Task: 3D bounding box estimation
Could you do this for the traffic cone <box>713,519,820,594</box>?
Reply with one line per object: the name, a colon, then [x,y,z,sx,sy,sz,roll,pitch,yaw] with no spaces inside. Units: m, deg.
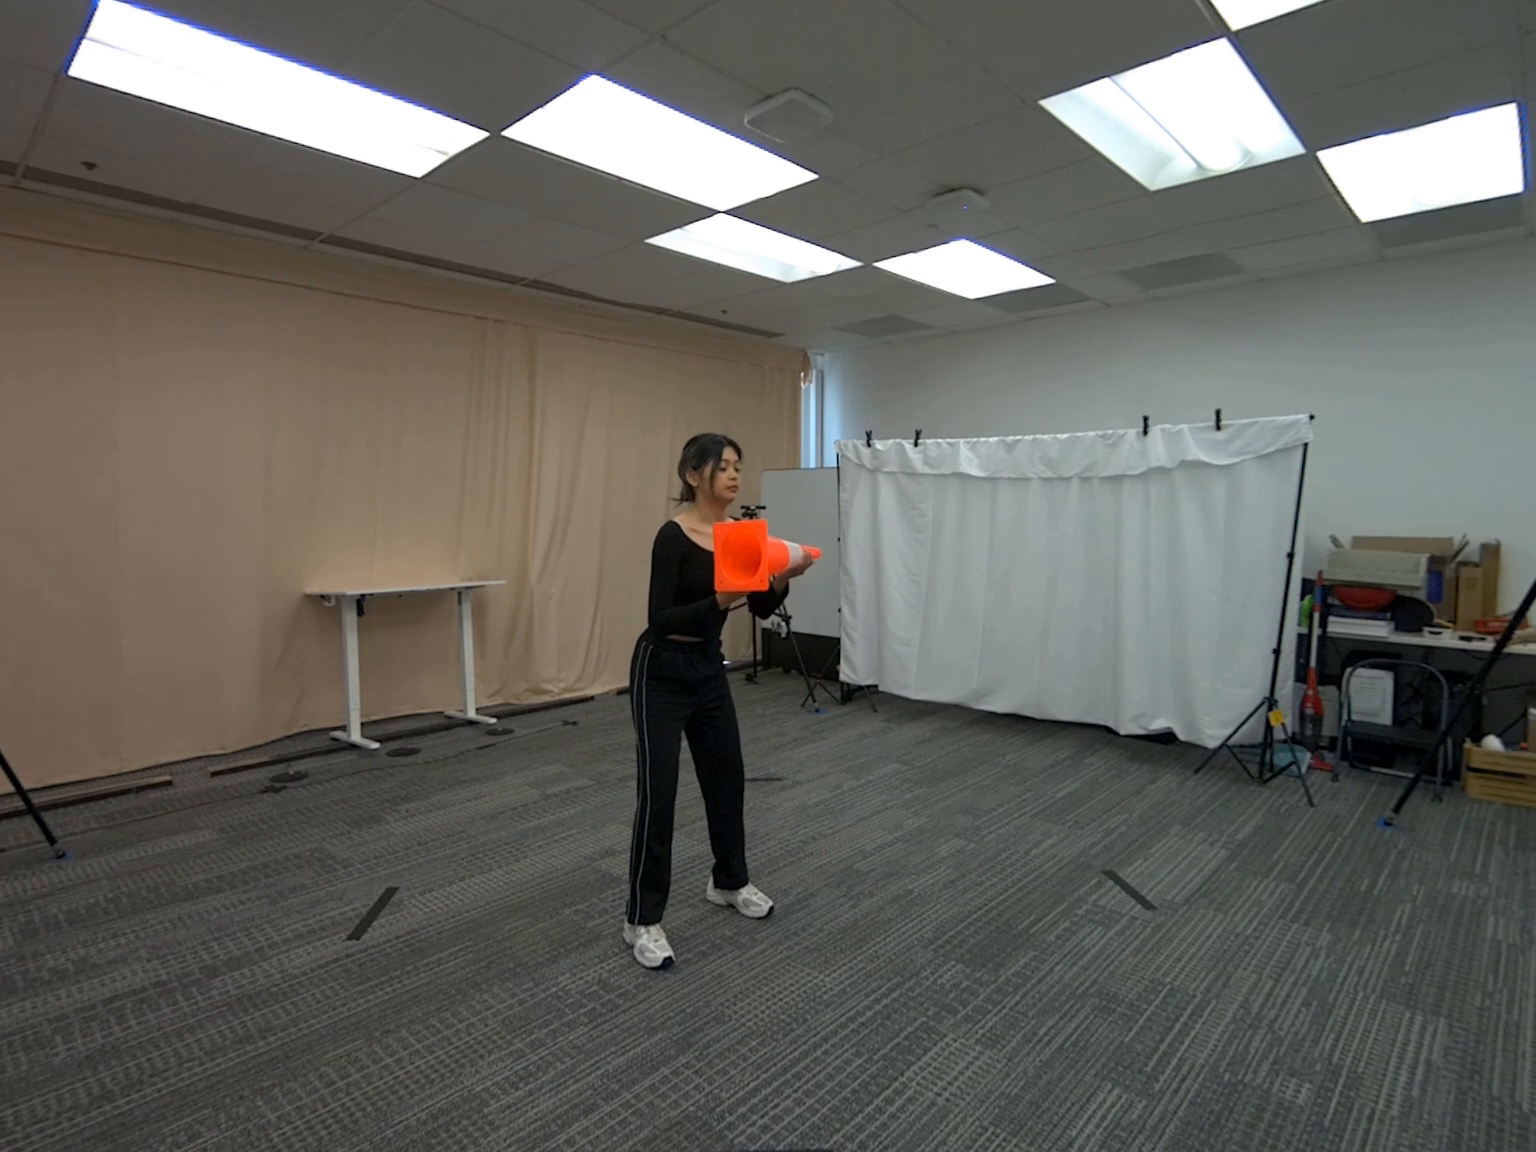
traffic cone: [0.032,-0.062,2.537,0.210,0.205,0.372,-2,1,41]
